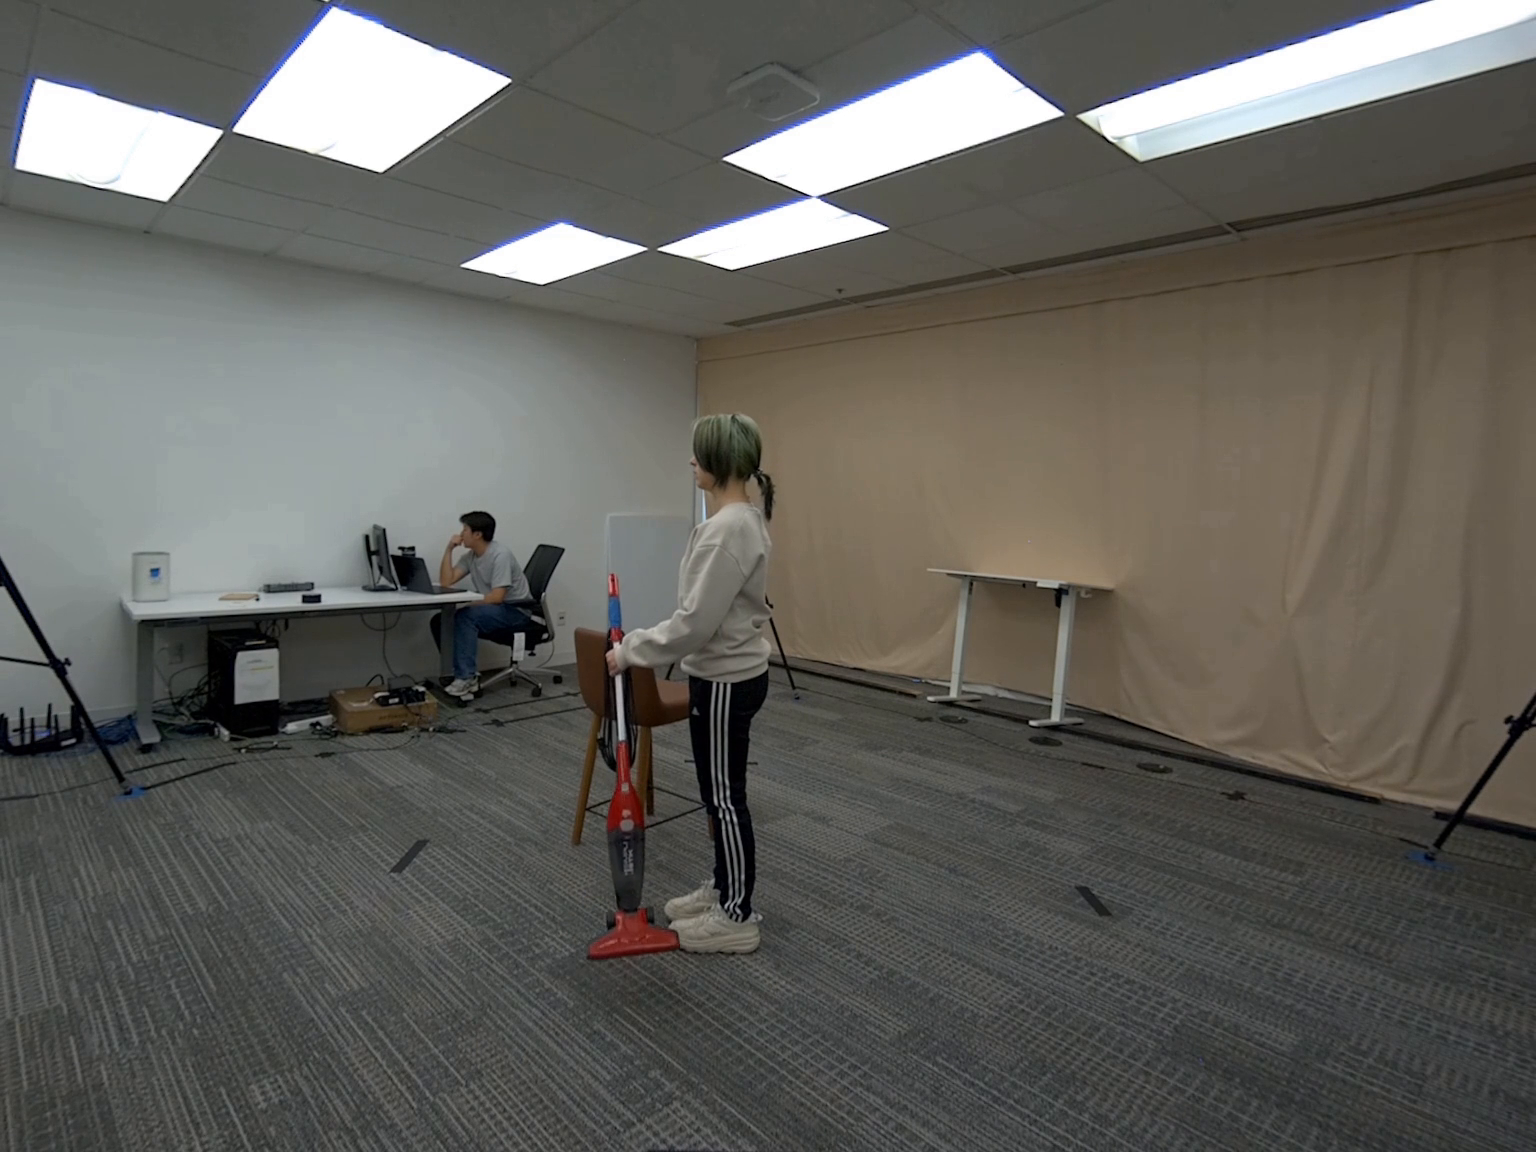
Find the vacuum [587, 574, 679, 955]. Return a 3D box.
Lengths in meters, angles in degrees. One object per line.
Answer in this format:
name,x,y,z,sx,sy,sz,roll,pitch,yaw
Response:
vacuum,-0.447,0.499,2.508,0.249,1.066,0.144,-1,-21,-20
